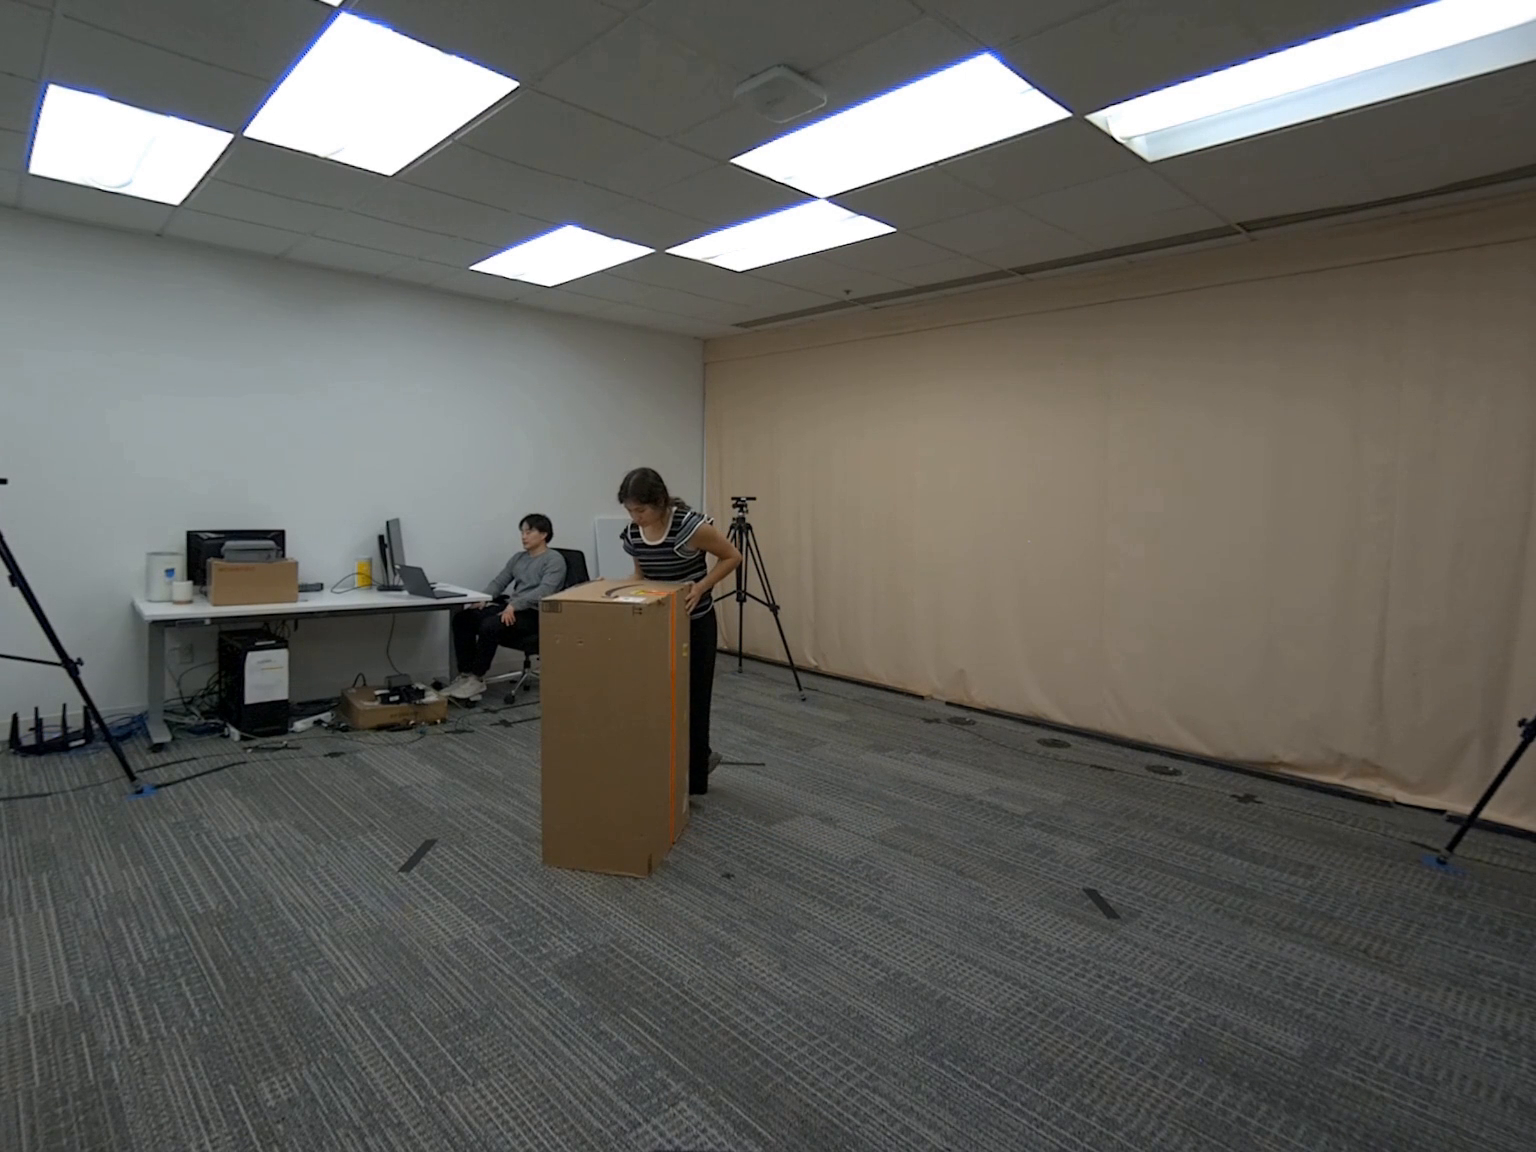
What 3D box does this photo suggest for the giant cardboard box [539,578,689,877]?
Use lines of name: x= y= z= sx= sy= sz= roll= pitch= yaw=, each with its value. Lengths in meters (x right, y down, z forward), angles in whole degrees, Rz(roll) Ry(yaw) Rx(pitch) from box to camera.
giant cardboard box: x=-0.600 y=0.566 z=3.345 sx=0.431 sy=1.022 sz=0.573 roll=2 pitch=5 yaw=12
